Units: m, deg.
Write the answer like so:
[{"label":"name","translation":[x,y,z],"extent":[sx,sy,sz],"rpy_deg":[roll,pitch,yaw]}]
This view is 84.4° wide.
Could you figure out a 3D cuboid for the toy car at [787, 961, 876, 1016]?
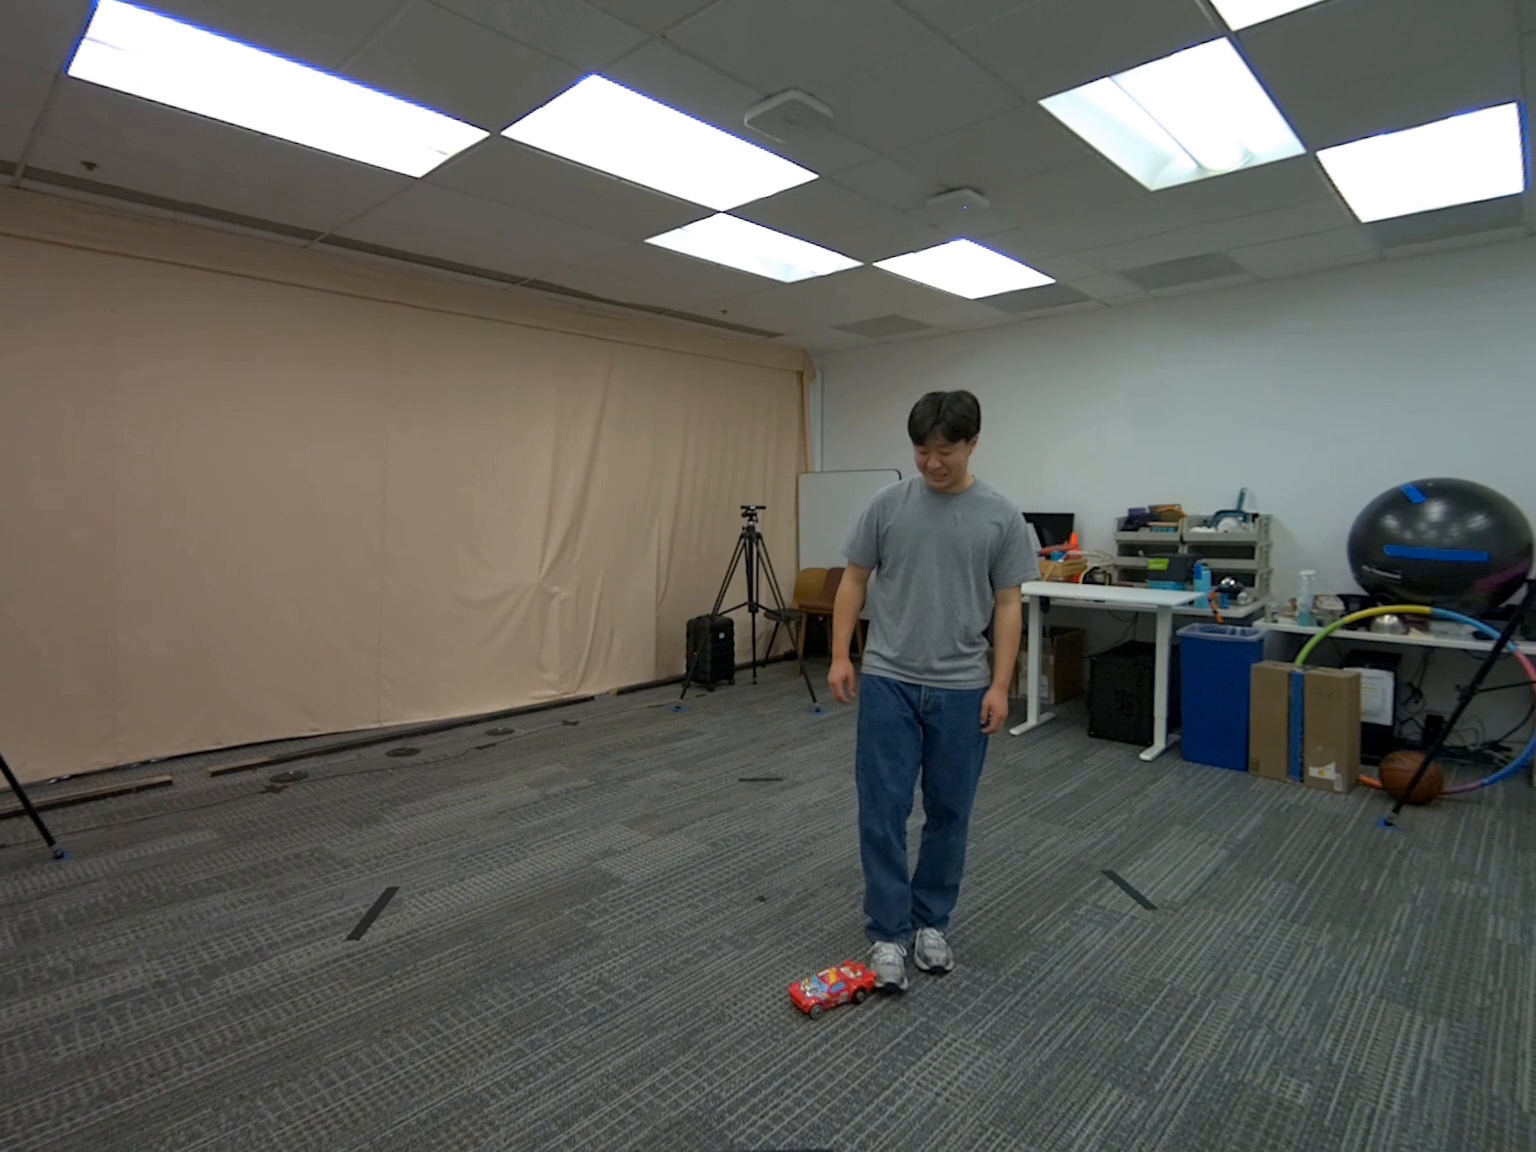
[{"label":"toy car","translation":[0.186,1.164,2.366],"extent":[0.249,0.082,0.134],"rpy_deg":[-14,11,-27]}]
